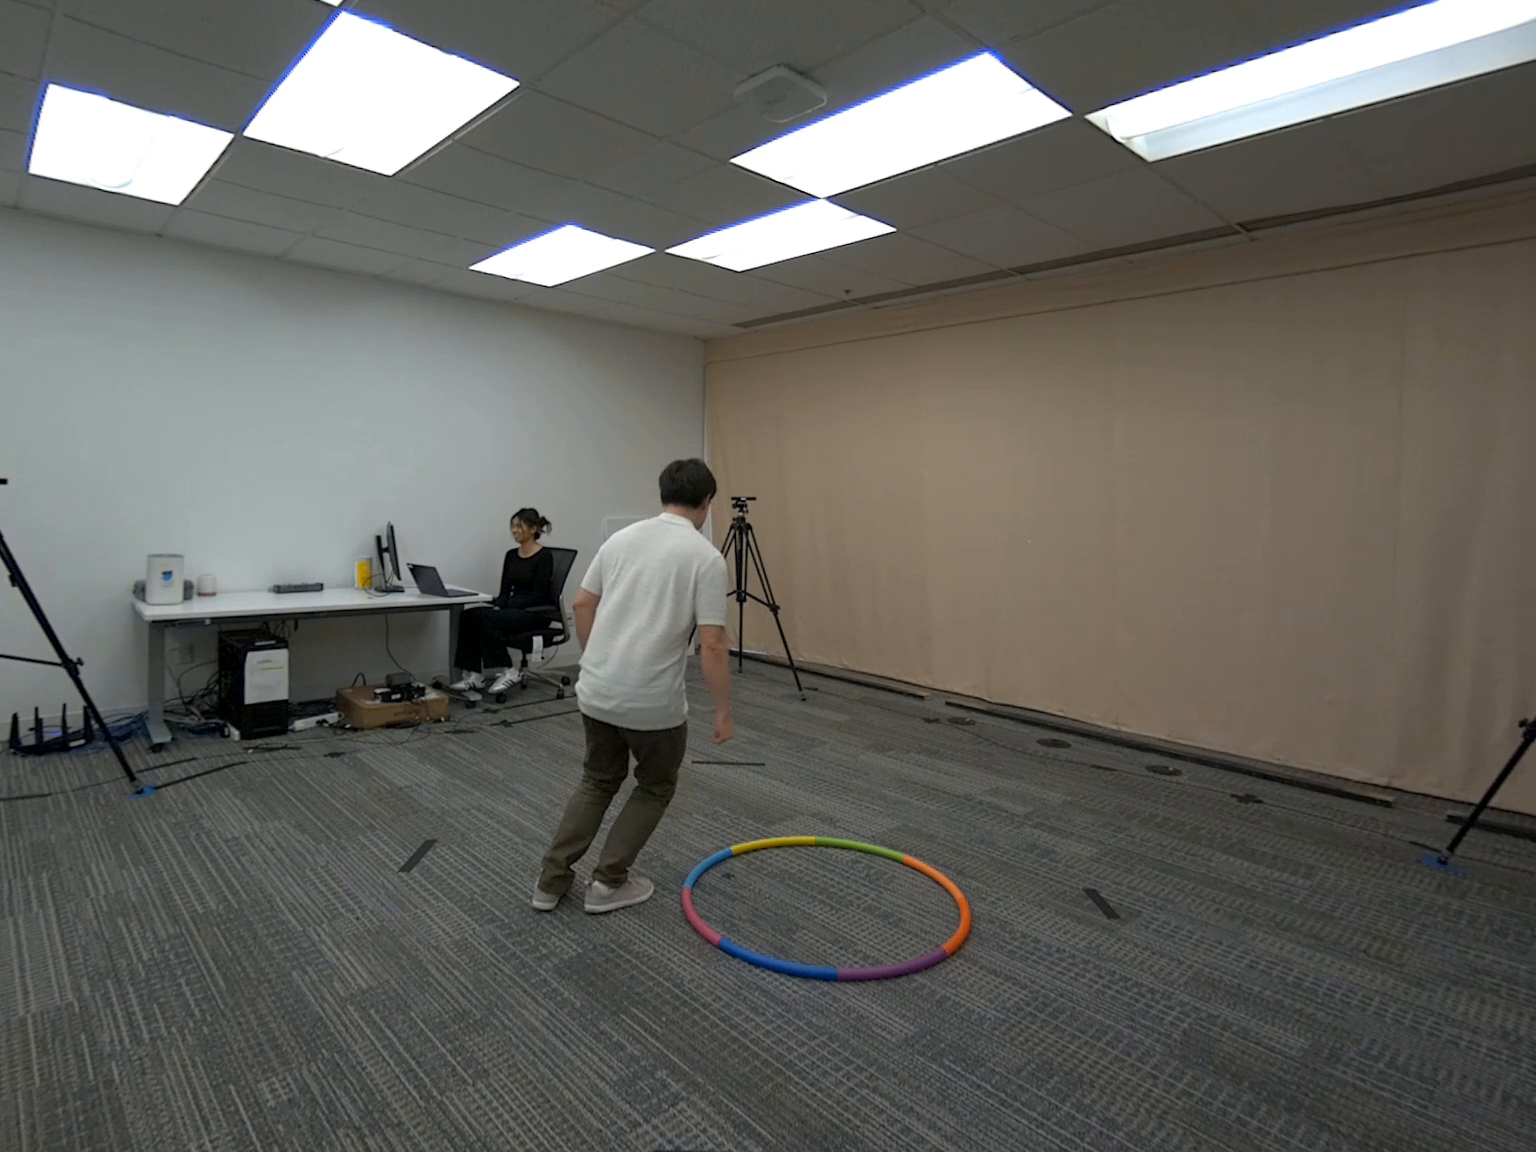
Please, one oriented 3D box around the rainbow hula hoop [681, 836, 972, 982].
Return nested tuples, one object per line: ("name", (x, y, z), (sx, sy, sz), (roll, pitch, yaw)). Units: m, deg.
("rainbow hula hoop", (0.182, 1.102, 2.925), (0.978, 0.035, 0.982), (1, 5, -1))
